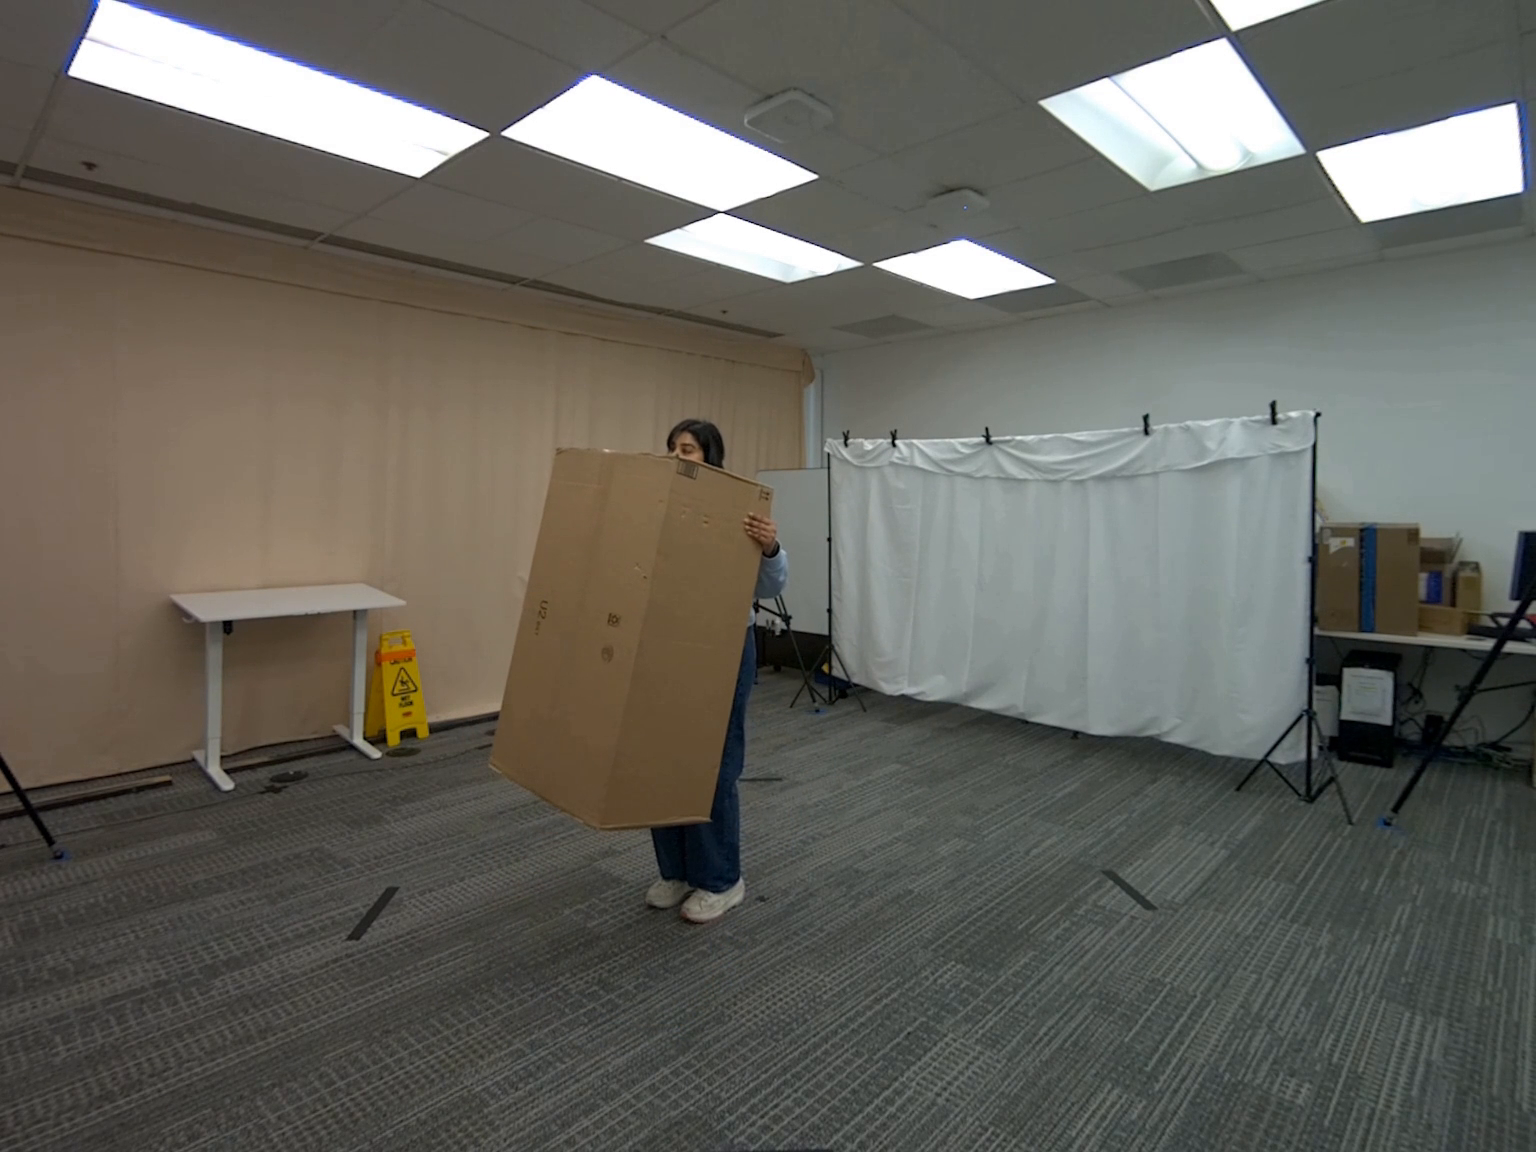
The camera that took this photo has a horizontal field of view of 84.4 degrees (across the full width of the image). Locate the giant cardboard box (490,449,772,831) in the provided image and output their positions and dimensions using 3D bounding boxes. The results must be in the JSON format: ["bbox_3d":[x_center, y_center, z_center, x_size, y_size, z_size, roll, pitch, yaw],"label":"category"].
[{"bbox_3d":[-0.424,0.167,2.581,0.604,1.028,0.431,10,-3,44],"label":"giant cardboard box"}]
